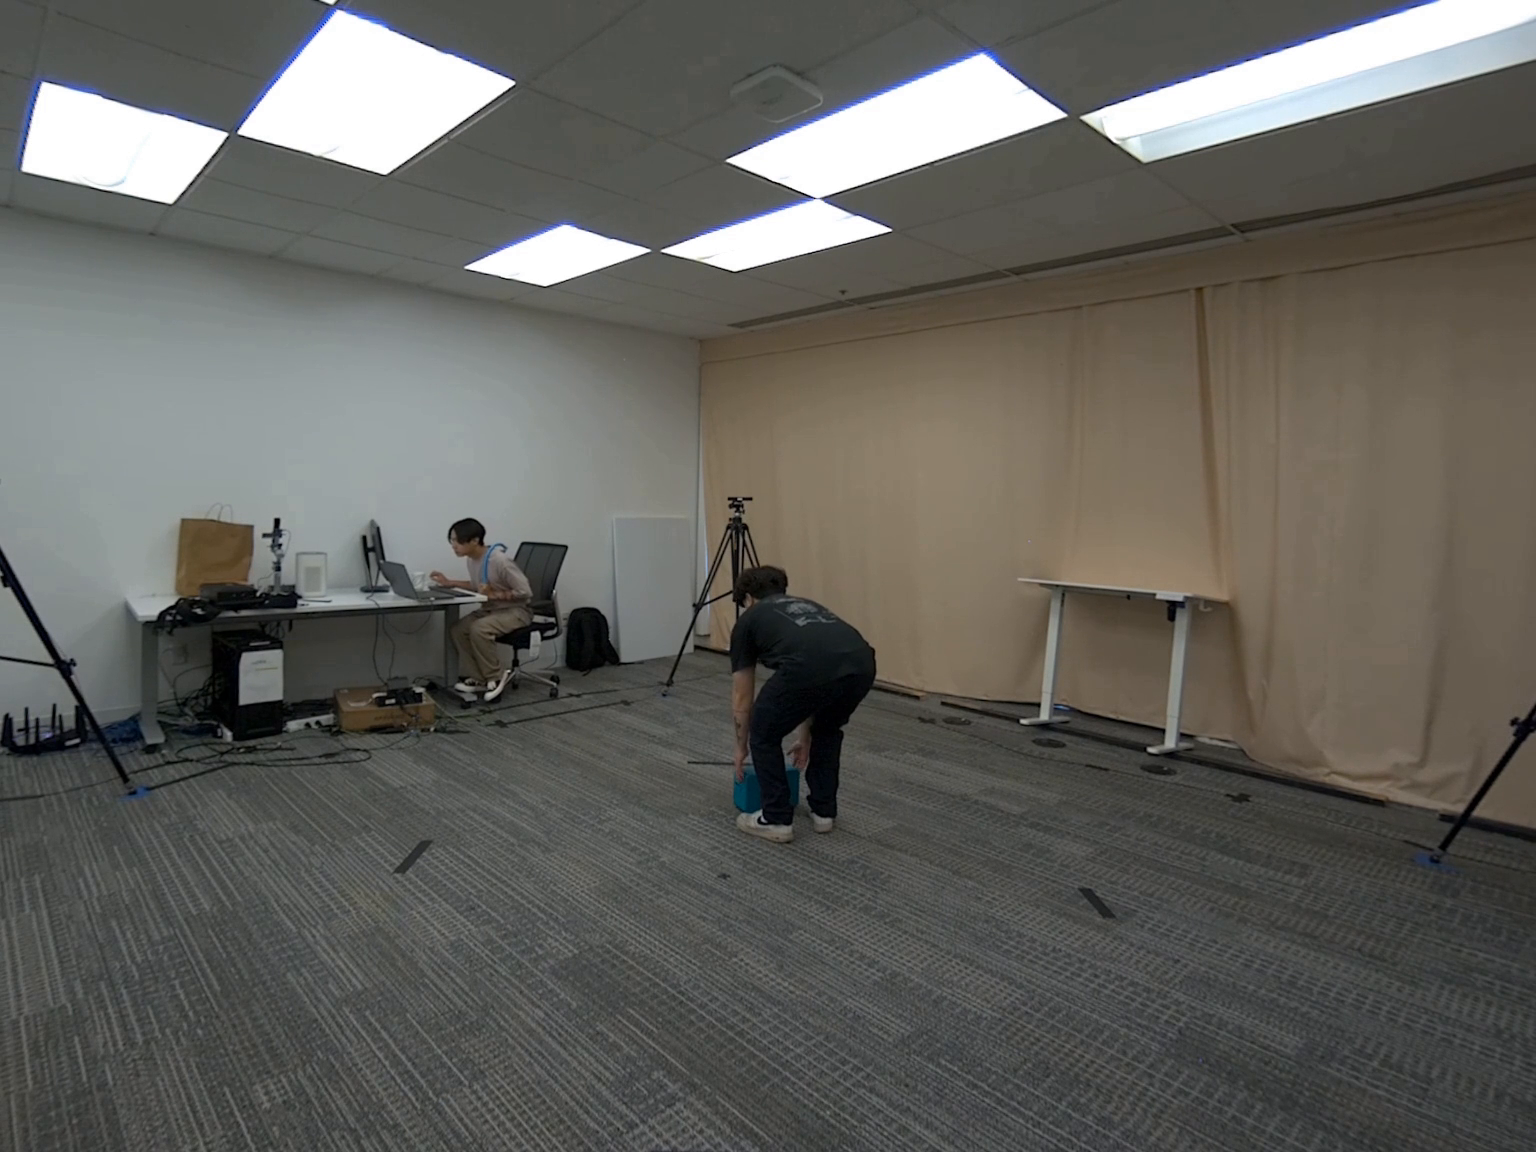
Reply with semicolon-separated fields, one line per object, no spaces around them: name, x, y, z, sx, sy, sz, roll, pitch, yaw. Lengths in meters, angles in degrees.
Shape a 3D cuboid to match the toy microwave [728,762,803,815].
toy microwave;-0.013;0.958;3.820;0.280;0.184;0.156;1;3;-29
